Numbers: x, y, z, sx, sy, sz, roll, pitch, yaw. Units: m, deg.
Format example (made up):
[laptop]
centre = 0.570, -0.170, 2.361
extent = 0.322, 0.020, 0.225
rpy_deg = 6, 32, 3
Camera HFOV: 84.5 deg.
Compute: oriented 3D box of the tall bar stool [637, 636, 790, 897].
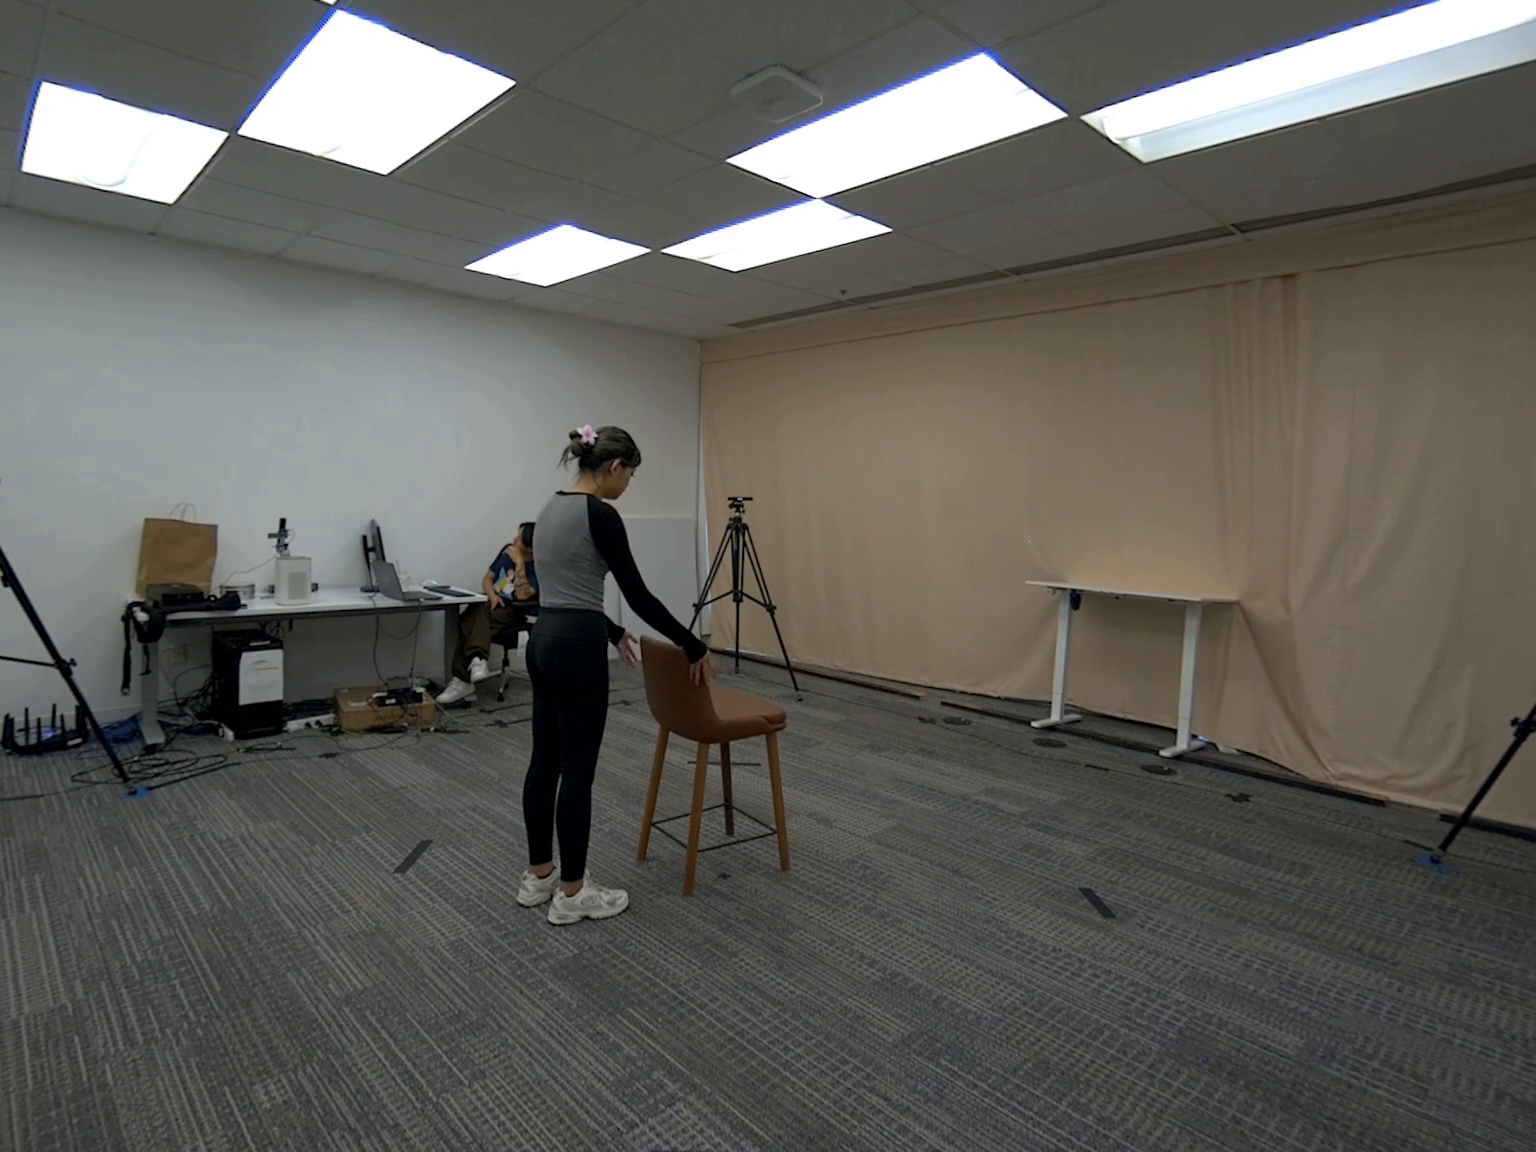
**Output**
[tall bar stool]
centre = -0.219, 0.660, 3.182
extent = 0.458, 0.886, 0.468
rpy_deg = -4, 6, -35
